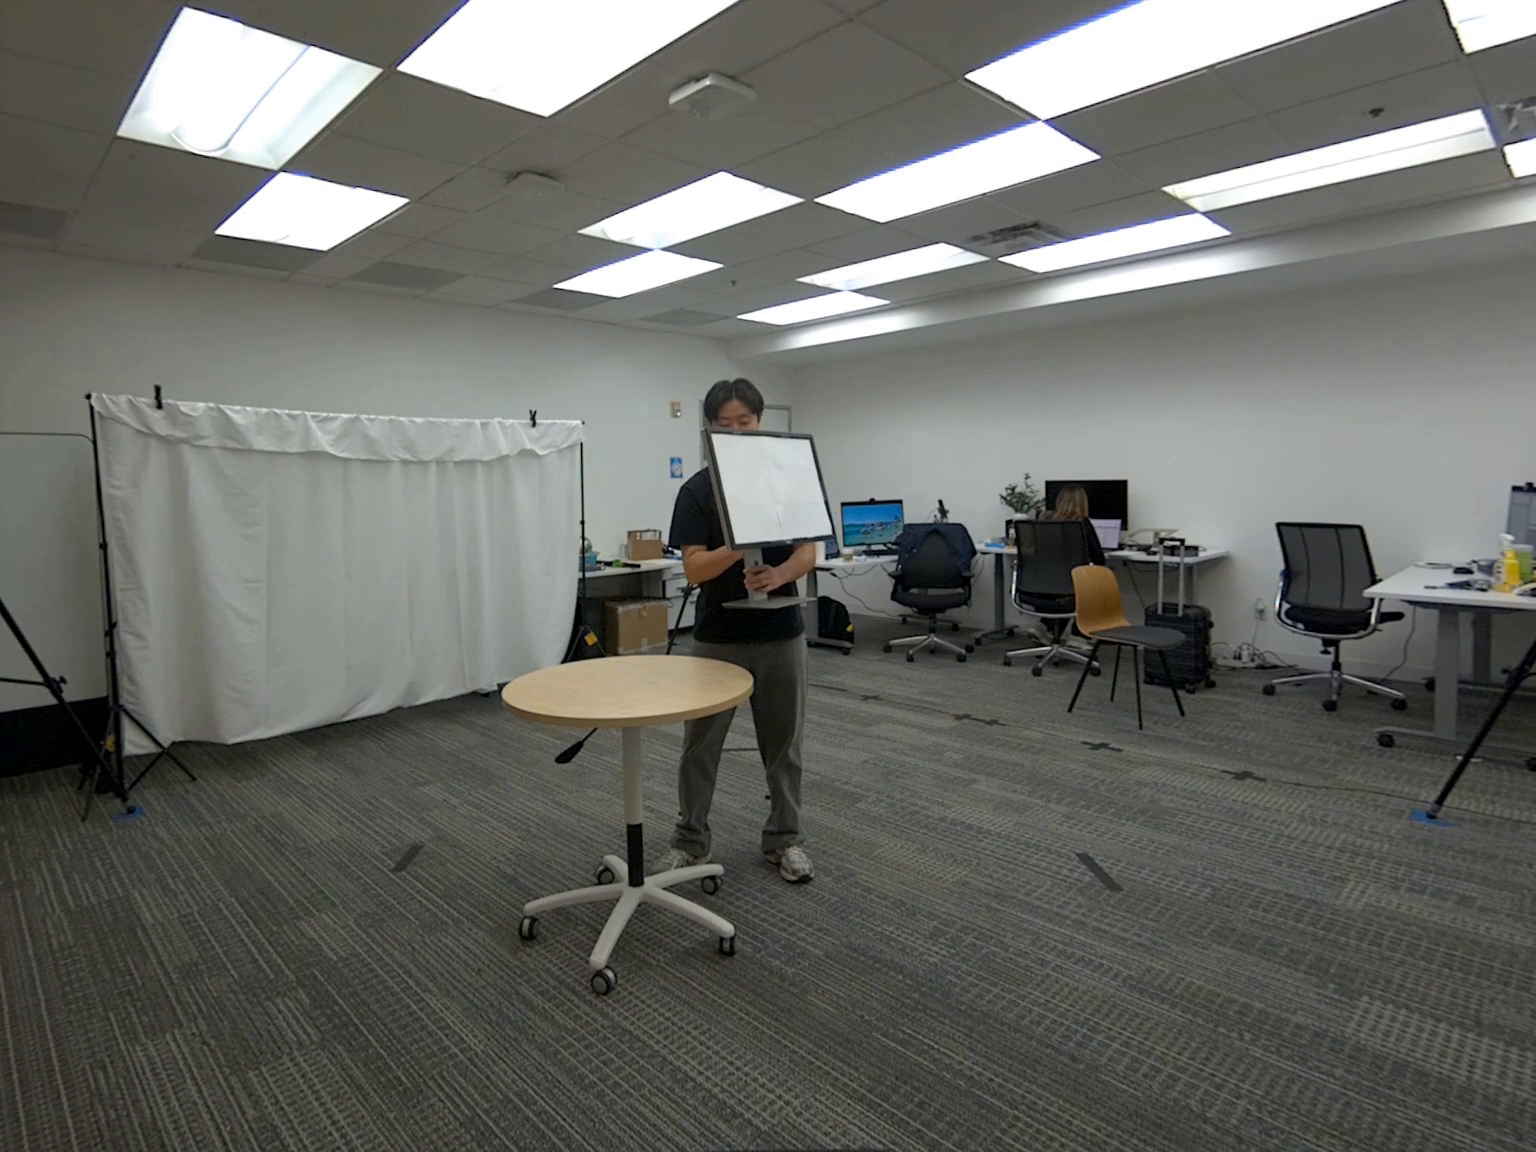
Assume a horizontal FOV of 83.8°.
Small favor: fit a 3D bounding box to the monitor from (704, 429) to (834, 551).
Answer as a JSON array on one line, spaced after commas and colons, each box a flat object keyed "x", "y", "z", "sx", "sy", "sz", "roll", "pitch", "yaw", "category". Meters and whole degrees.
[{"x": -0.012, "y": -0.168, "z": 2.666, "sx": 0.229, "sy": 0.564, "sz": 0.547, "roll": 3, "pitch": 6, "yaw": 39, "category": "monitor"}]
